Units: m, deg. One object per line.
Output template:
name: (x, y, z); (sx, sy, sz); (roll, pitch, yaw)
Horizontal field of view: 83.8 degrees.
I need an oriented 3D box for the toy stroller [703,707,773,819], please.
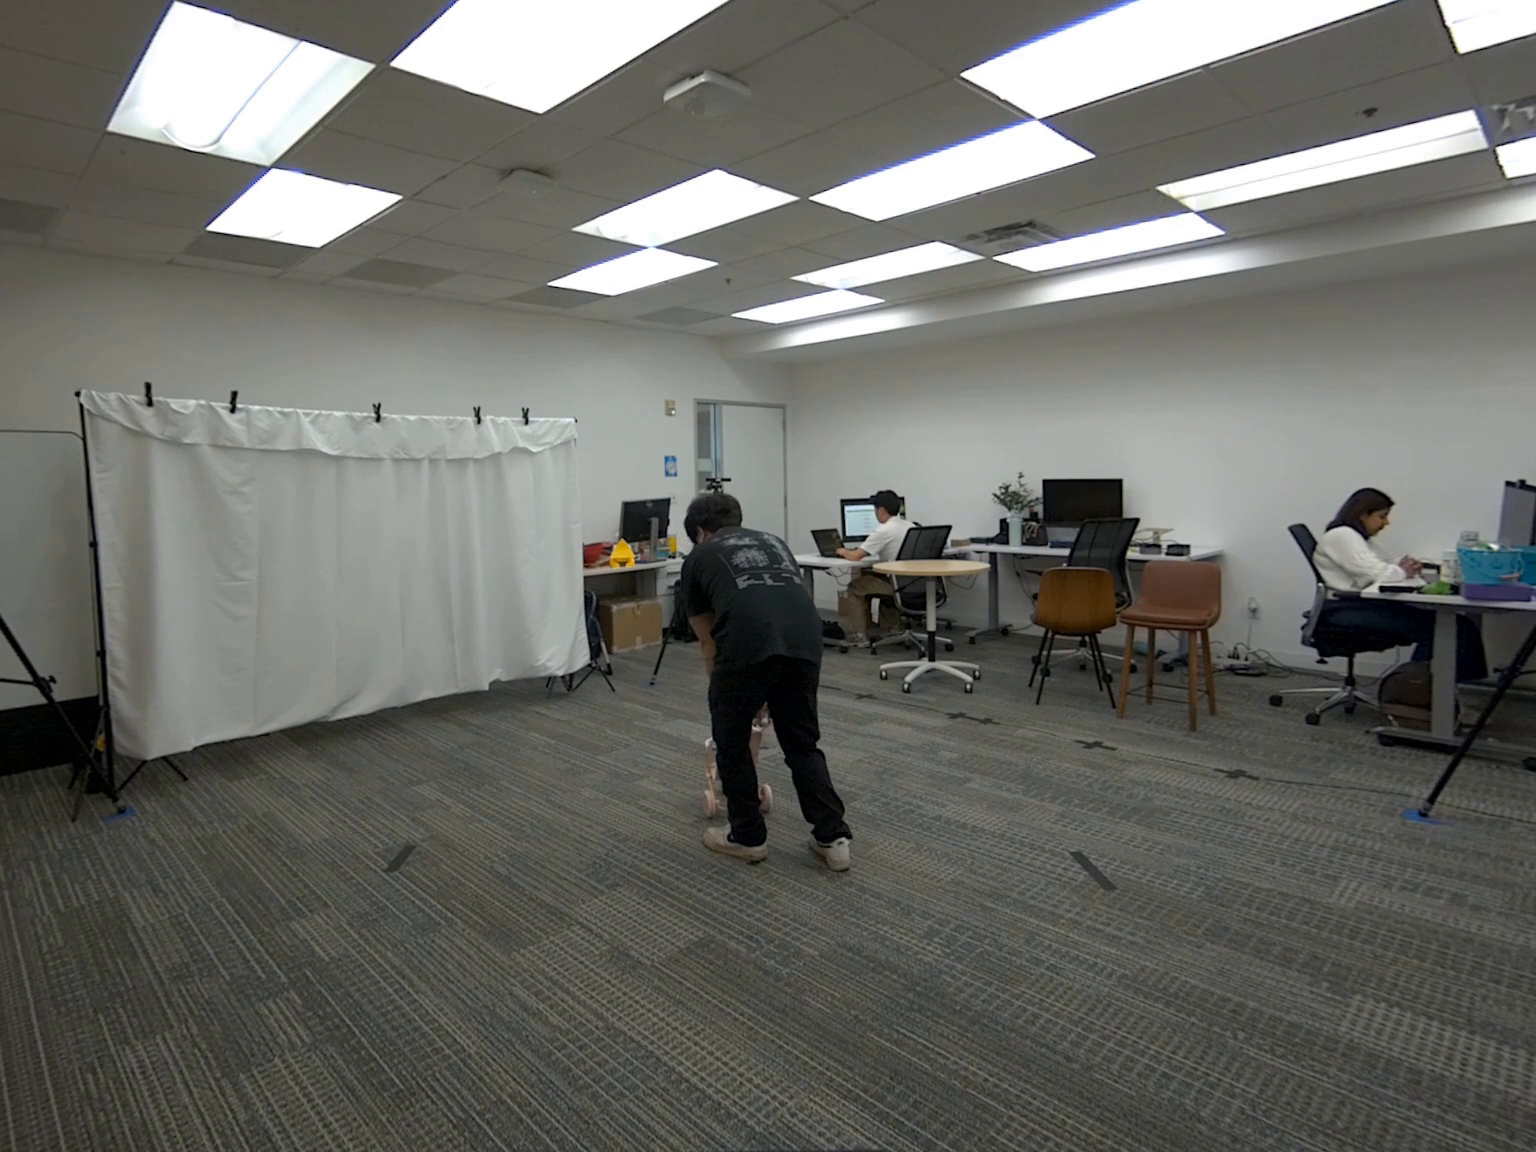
toy stroller: (-0.140, 0.759, 3.619); (0.278, 0.527, 0.350); (-1, 19, -12)
